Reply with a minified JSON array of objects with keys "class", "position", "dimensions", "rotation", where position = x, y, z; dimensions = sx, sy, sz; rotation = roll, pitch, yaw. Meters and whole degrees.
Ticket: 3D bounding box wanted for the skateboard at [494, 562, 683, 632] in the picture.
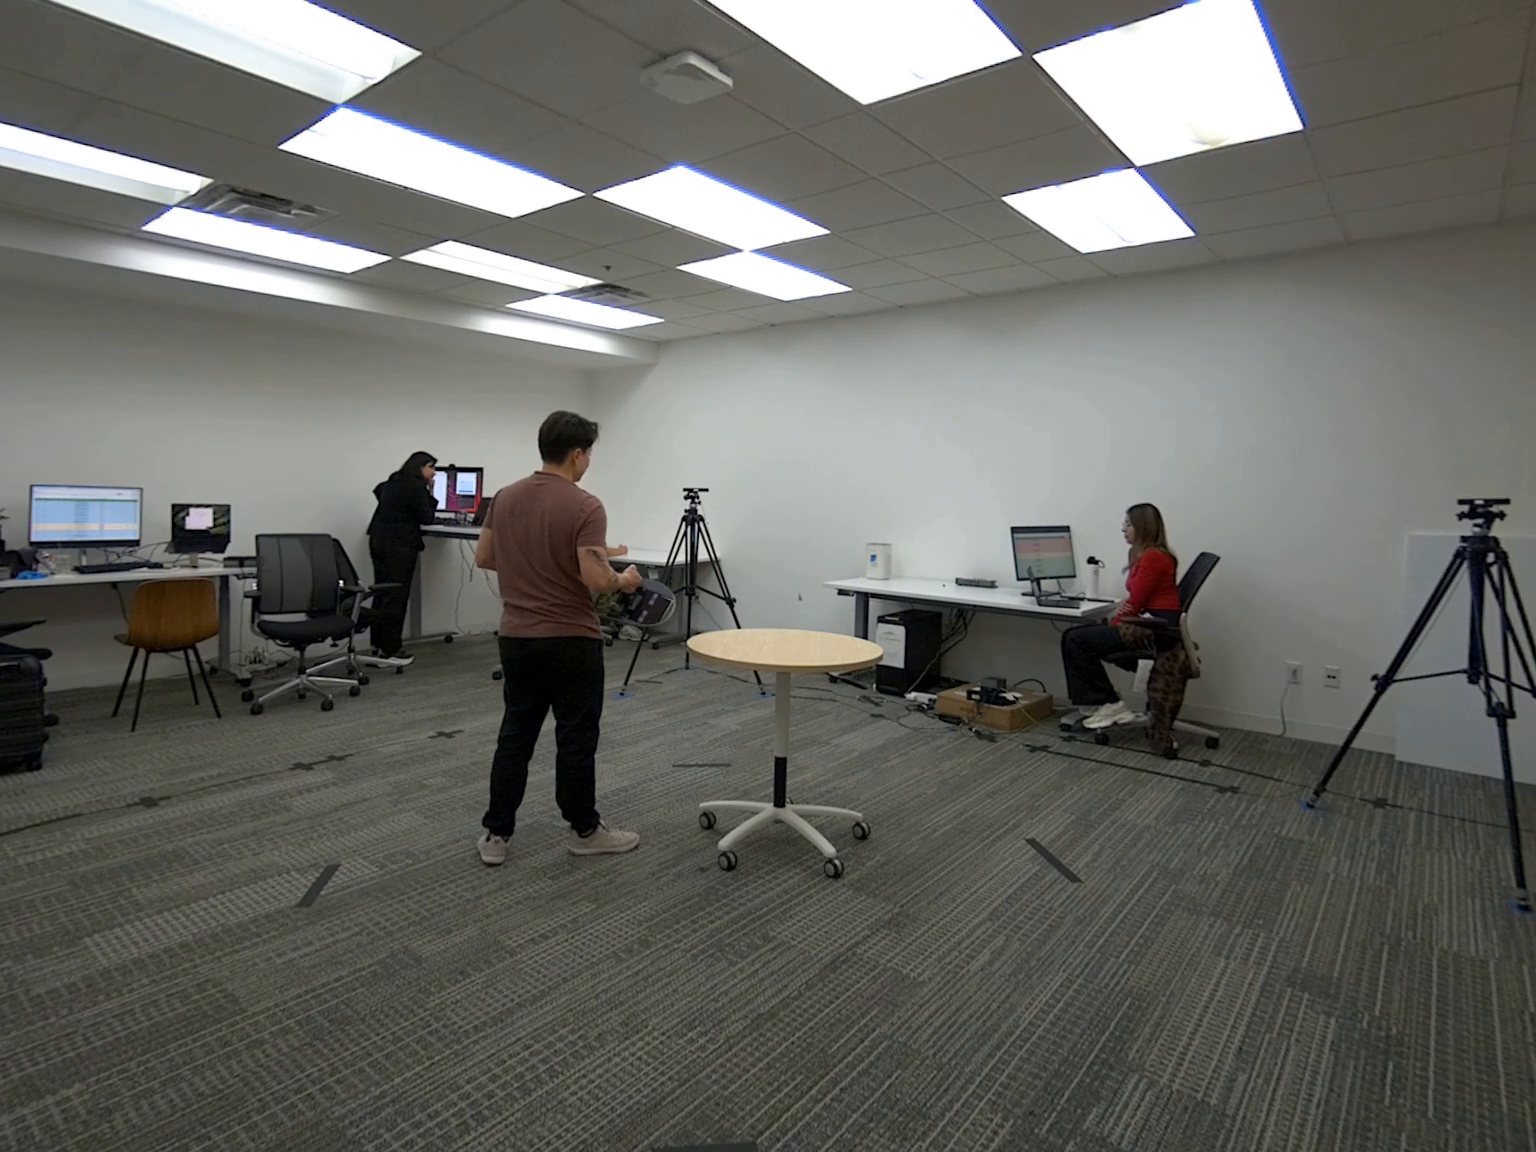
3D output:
[{"class":"skateboard","position":[-0.736,0.037,3.382],"dimensions":[0.809,0.195,0.106],"rotation":[10,-27,28]}]
